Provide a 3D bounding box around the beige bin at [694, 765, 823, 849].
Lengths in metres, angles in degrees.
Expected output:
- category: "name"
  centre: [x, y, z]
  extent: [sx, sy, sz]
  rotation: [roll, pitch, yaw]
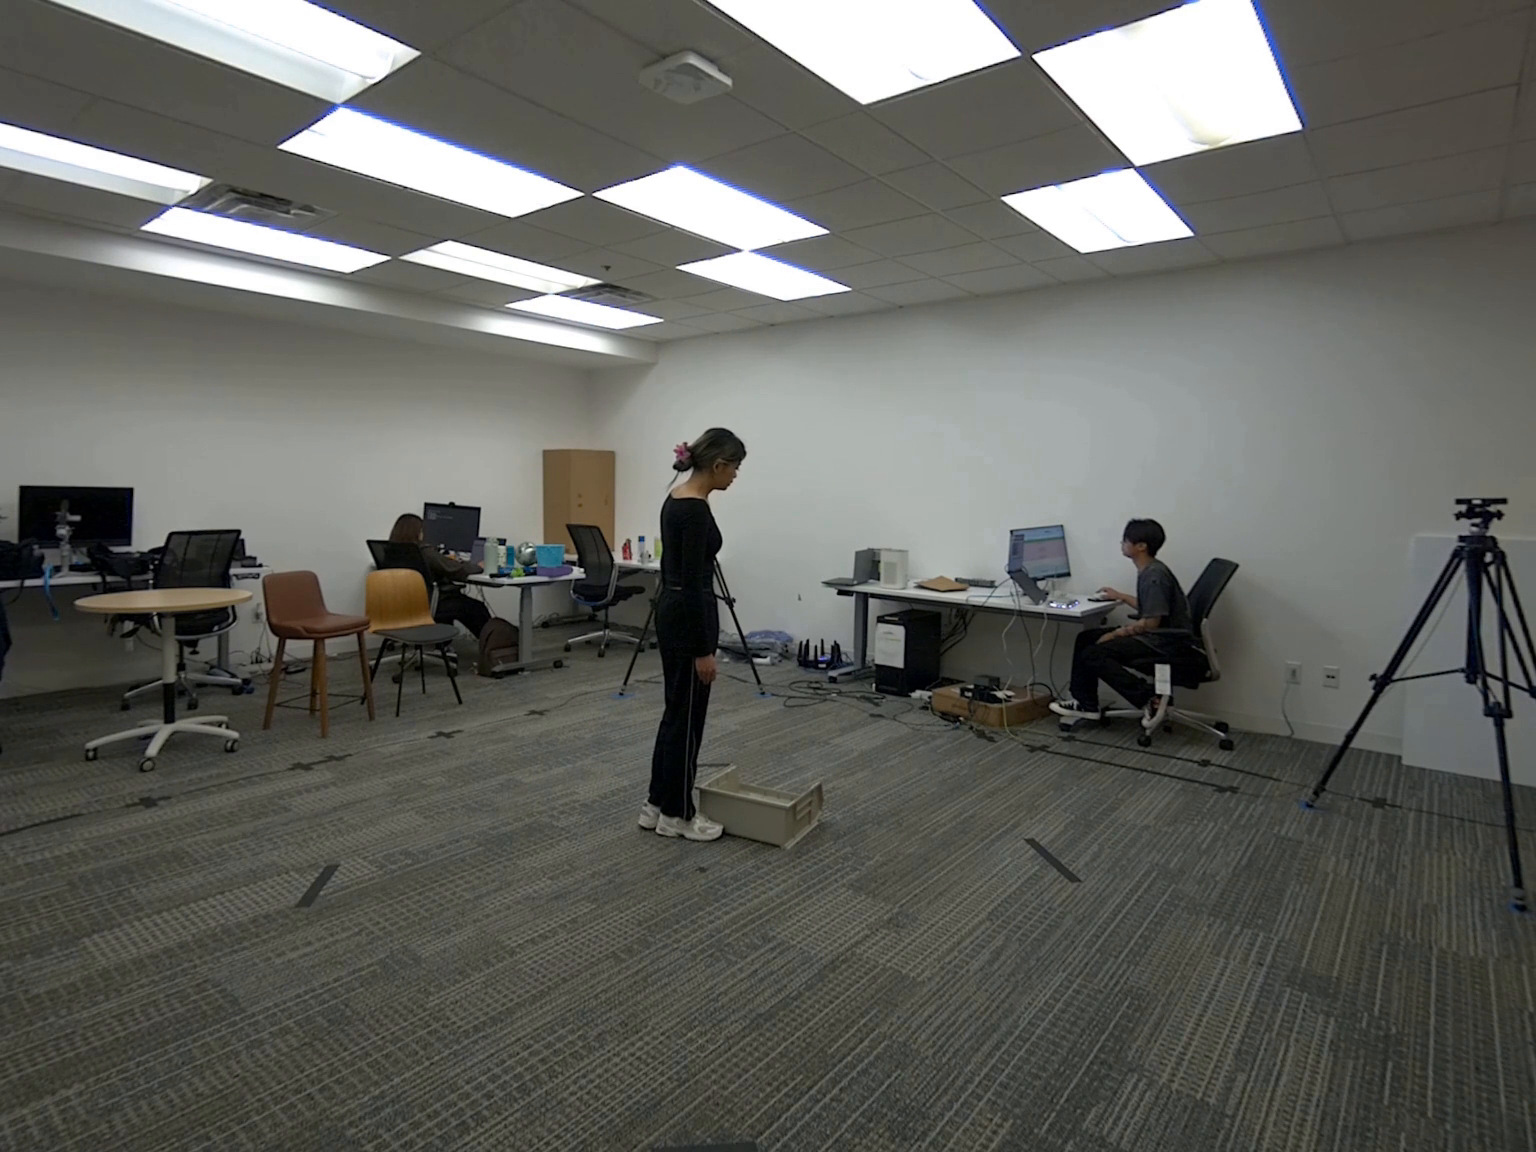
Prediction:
- category: "beige bin"
  centre: [-0.040, 0.941, 3.534]
  extent: [0.434, 0.188, 0.369]
  rotation: [4, 7, 27]
